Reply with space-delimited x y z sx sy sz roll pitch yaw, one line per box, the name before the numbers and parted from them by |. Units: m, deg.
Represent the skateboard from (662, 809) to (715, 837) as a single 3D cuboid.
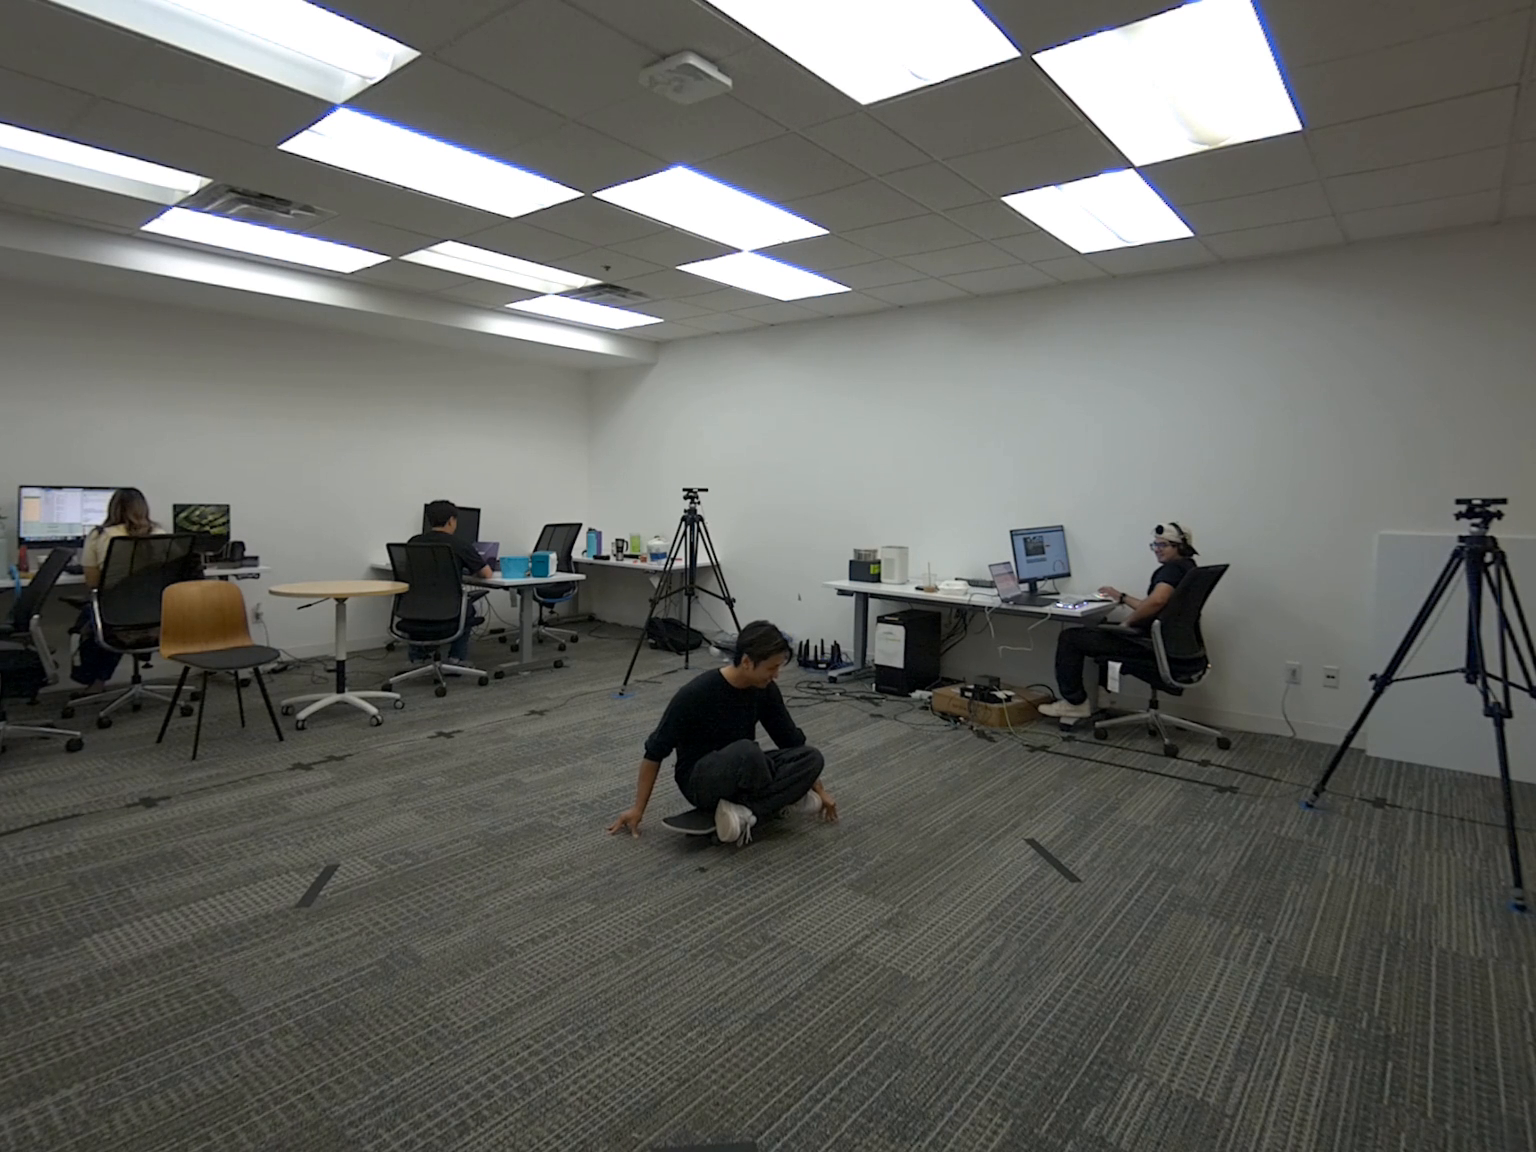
skateboard | -0.136 0.985 3.528 0.200 0.110 0.762 6 7 41
